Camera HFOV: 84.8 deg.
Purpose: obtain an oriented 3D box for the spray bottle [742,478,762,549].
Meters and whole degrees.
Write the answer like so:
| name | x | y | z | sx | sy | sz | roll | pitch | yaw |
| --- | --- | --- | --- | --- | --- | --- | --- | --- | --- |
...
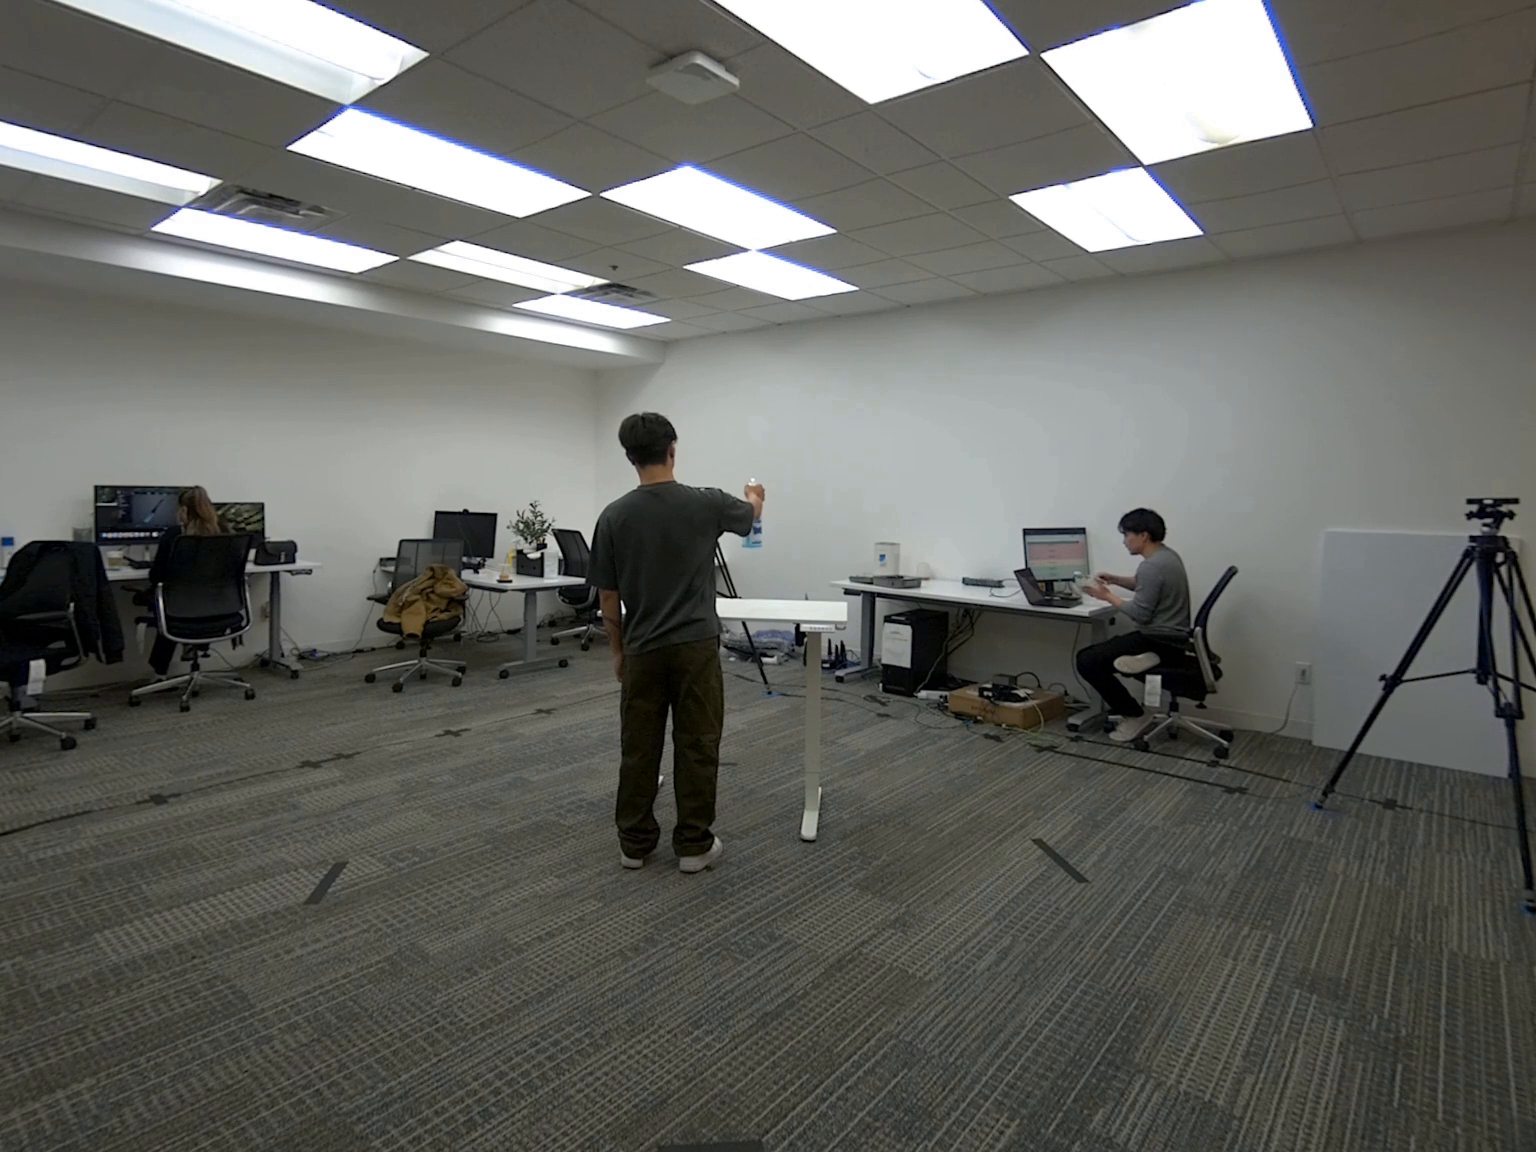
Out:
| name | x | y | z | sx | sy | sz | roll | pitch | yaw |
| --- | --- | --- | --- | --- | --- | --- | --- | --- | --- |
| spray bottle | -0.072 | -0.271 | 3.657 | 0.089 | 0.296 | 0.088 | 3 | 6 | 24 |
